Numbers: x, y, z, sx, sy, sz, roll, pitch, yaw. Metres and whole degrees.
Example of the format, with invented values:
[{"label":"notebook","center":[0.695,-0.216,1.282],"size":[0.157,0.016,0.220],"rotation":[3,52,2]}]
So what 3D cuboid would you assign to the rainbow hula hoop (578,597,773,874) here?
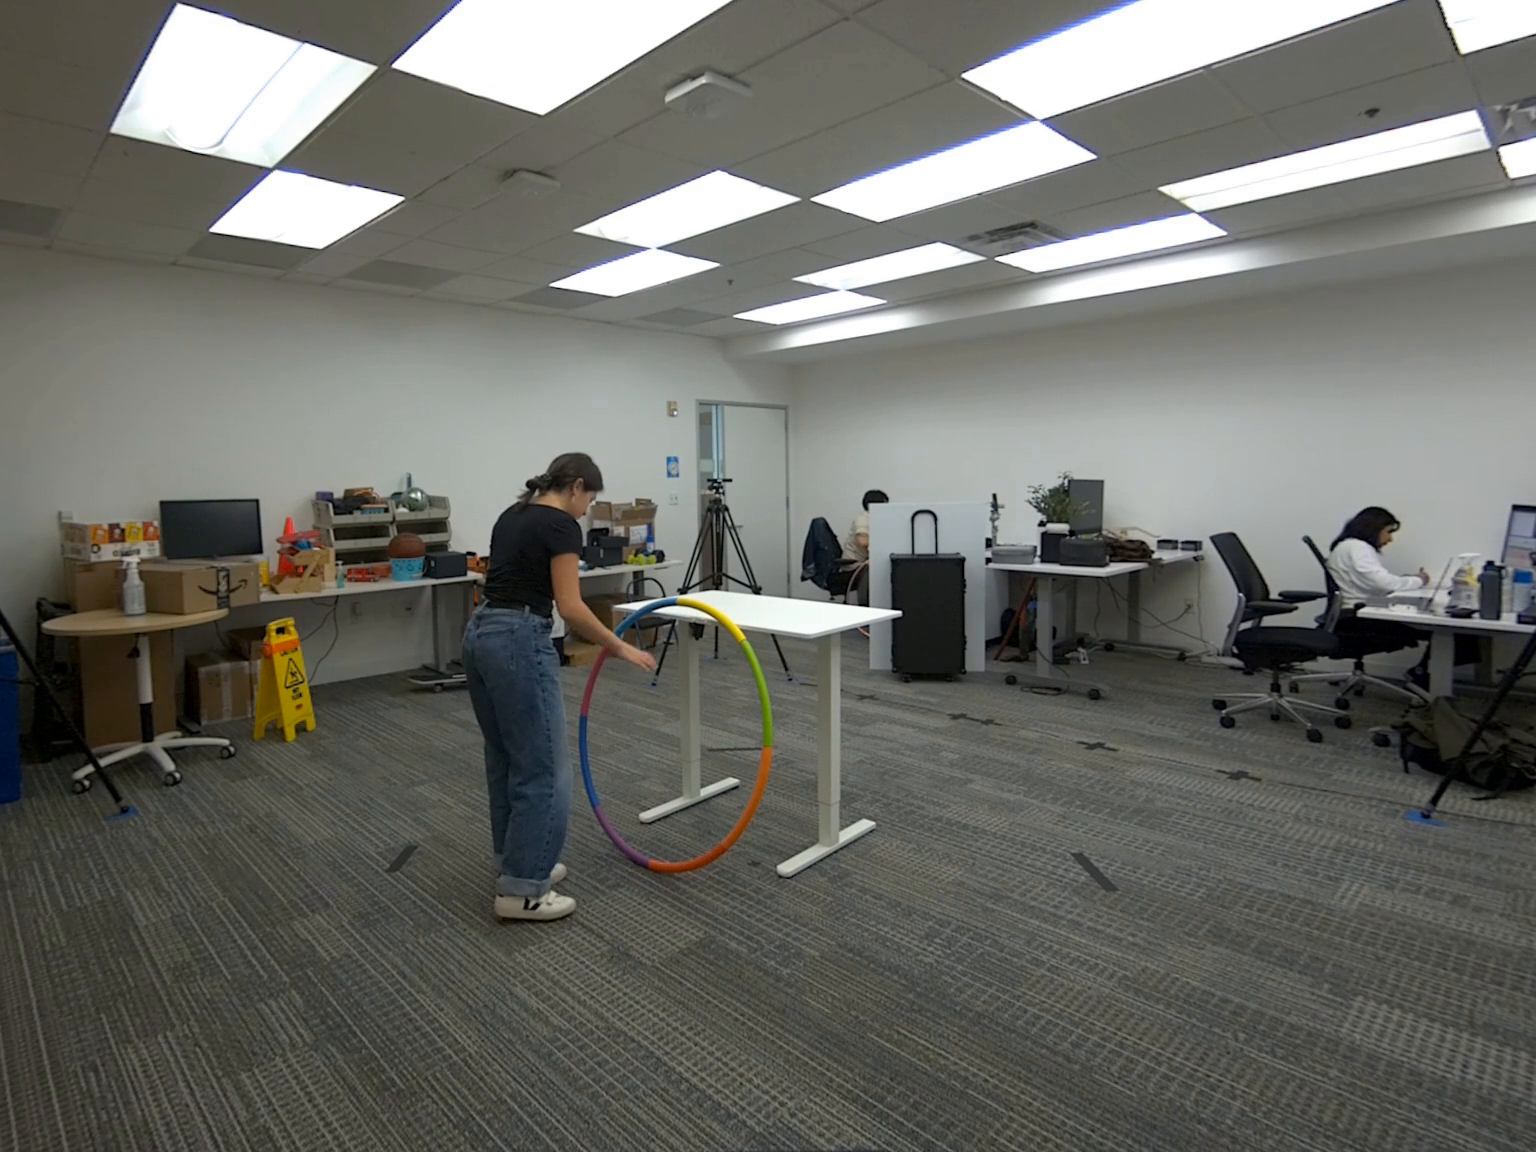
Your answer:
[{"label":"rainbow hula hoop","center":[-0.382,0.570,3.150],"size":[1.008,0.983,0.034],"rotation":[3,-8,42]}]
